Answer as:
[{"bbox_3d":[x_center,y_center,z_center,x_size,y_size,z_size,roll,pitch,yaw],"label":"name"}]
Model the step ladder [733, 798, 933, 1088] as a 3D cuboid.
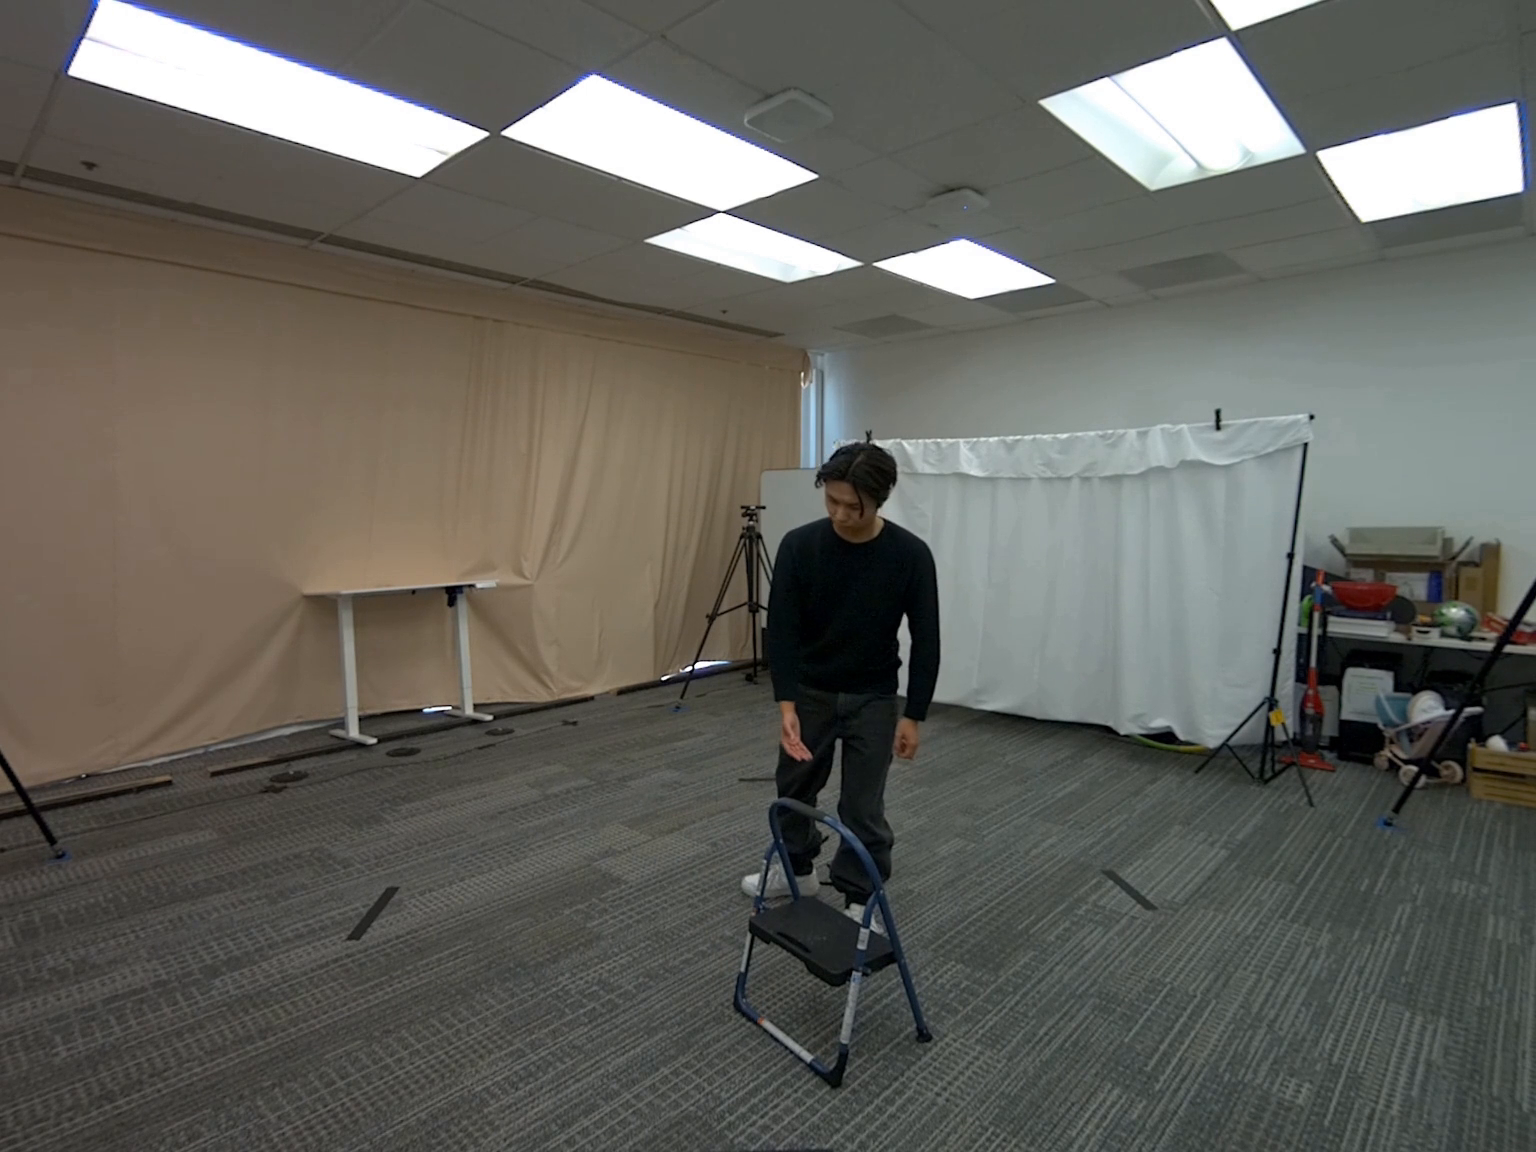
[{"bbox_3d":[0.164,0.901,2.255,0.339,0.604,0.445,-3,5,-38],"label":"step ladder"}]
